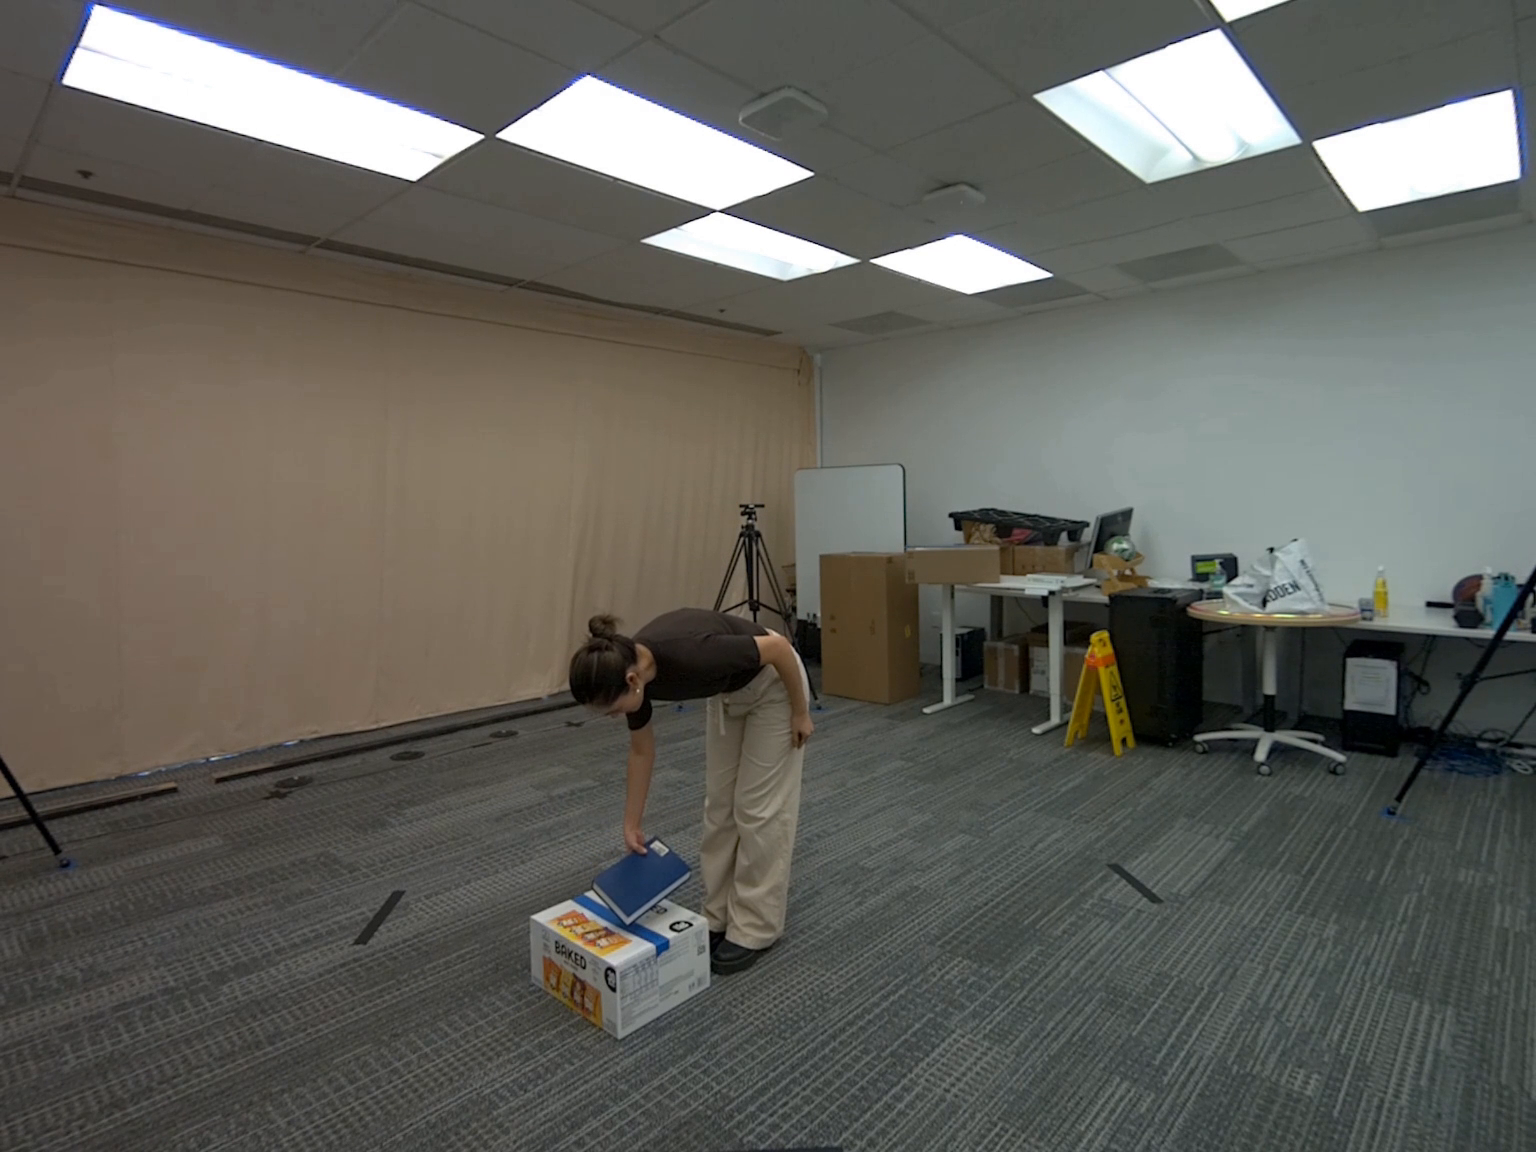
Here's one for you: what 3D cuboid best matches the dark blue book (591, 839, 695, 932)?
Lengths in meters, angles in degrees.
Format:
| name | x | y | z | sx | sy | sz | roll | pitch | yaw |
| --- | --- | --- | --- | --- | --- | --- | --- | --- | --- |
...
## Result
| name | x | y | z | sx | sy | sz | roll | pitch | yaw |
| --- | --- | --- | --- | --- | --- | --- | --- | --- | --- |
| dark blue book | -0.359 | 0.881 | 2.429 | 0.239 | 0.044 | 0.169 | -23 | 40 | -40 |
